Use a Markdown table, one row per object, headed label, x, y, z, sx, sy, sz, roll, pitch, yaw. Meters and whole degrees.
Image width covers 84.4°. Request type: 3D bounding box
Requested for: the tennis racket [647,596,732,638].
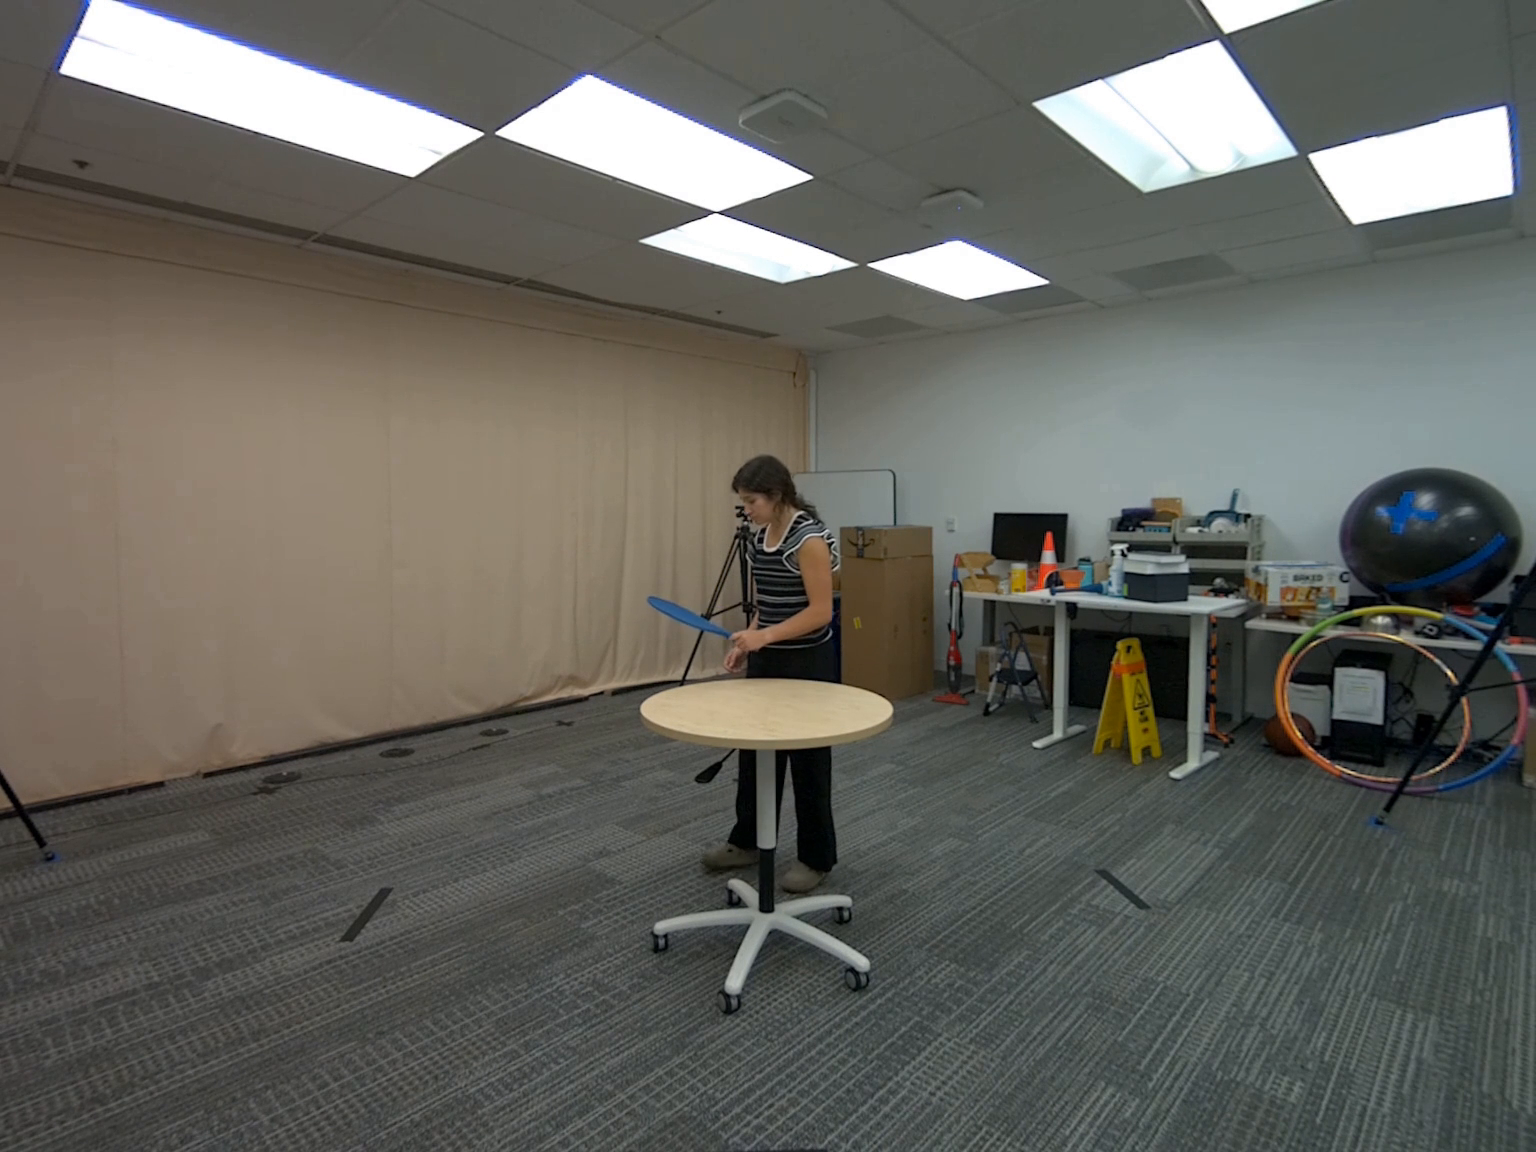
| label | x | y | z | sx | sy | sz | roll | pitch | yaw |
| --- | --- | --- | --- | --- | --- | --- | --- | --- | --- |
| tennis racket | -0.225 | 0.167 | 2.946 | 0.425 | 0.032 | 0.218 | 25 | 7 | -16 |
